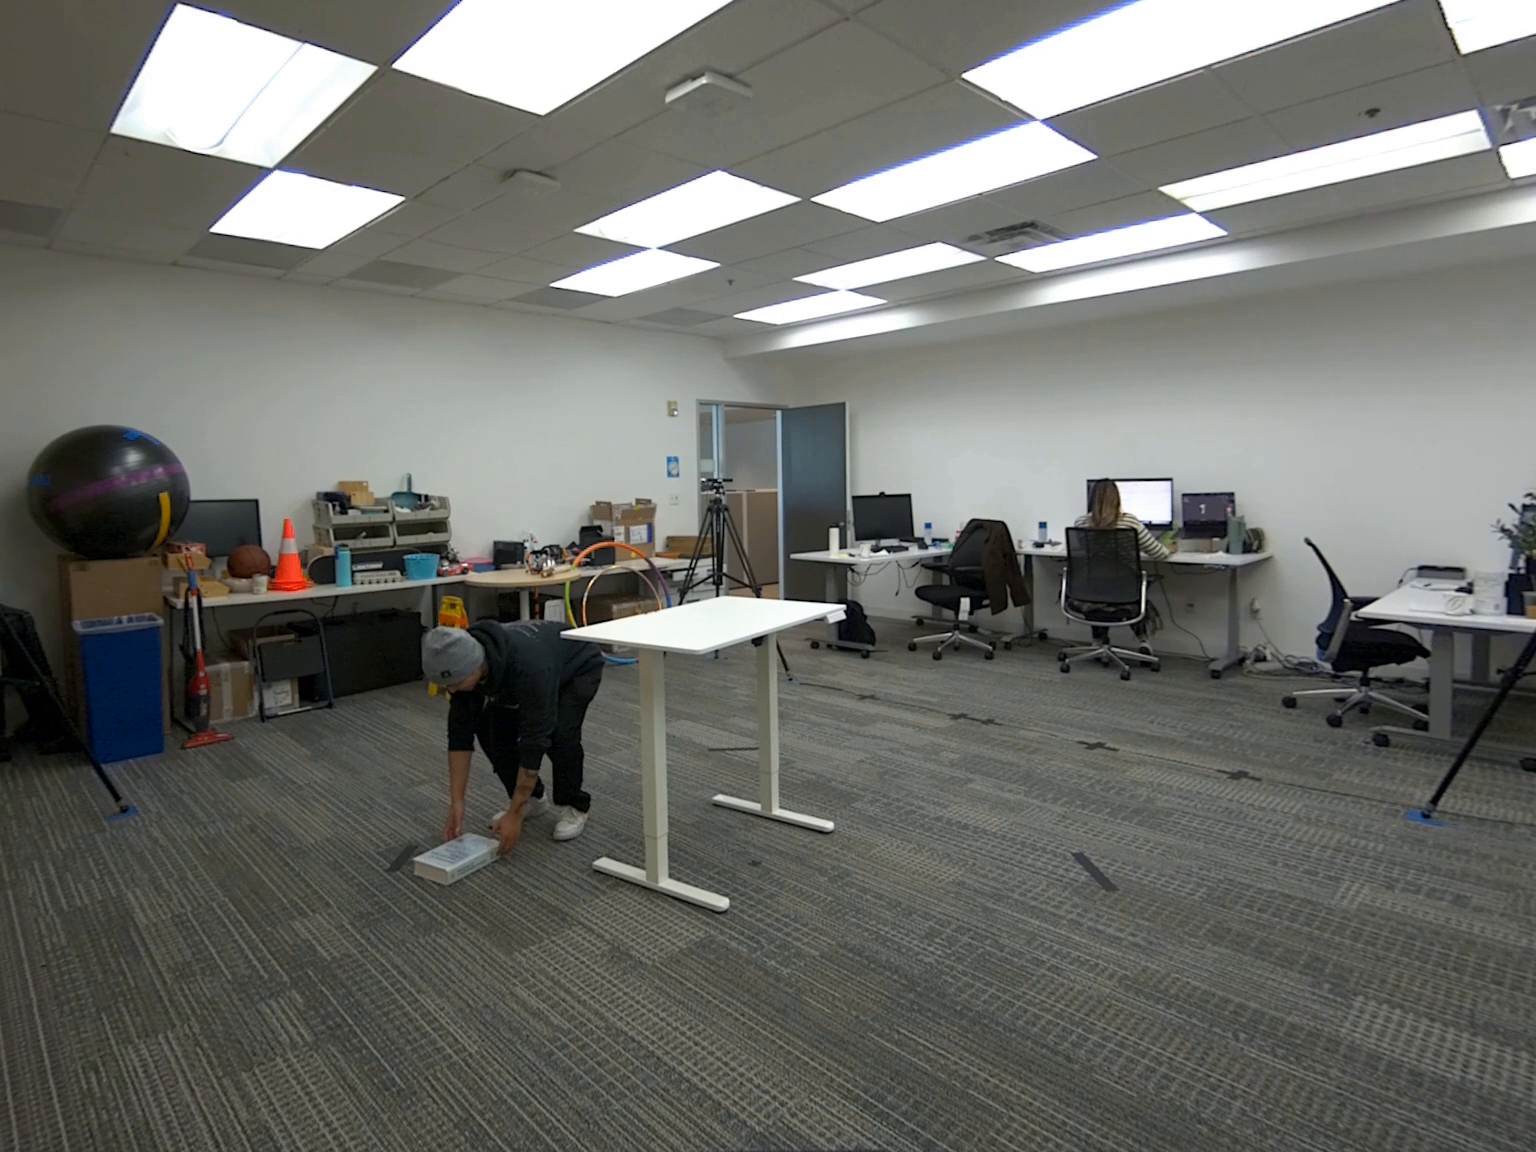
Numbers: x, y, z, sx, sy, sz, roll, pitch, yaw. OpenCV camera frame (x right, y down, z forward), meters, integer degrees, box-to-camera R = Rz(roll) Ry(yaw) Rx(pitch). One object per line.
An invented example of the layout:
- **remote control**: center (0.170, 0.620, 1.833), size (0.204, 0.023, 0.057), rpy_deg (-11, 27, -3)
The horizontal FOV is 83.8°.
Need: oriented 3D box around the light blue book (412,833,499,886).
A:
- **light blue book**: center (-1.135, 1.039, 3.134), size (0.196, 0.059, 0.255), rpy_deg (2, 7, 30)
